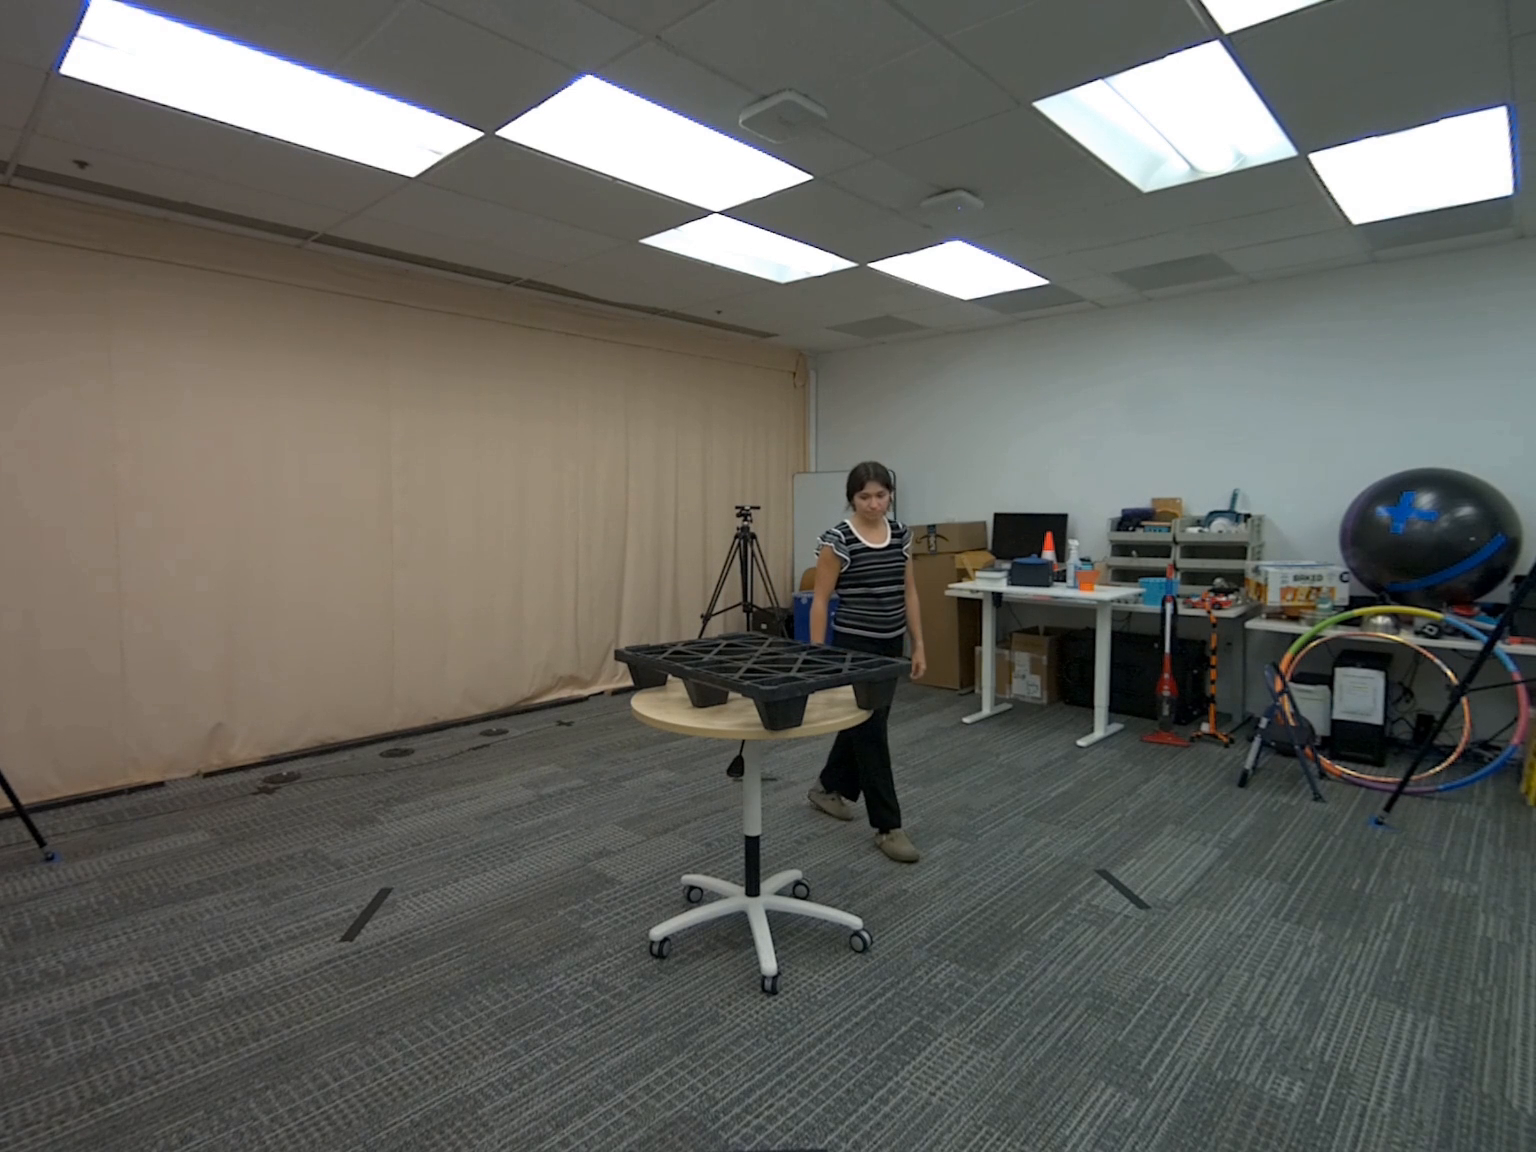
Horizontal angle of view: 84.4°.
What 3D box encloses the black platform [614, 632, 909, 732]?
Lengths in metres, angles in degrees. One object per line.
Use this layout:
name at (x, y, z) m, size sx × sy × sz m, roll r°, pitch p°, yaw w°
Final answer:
black platform at (-0.029, 0.325, 2.695) m, size 0.587 × 0.143 × 0.832 m, roll -6°, pitch 7°, yaw -39°
